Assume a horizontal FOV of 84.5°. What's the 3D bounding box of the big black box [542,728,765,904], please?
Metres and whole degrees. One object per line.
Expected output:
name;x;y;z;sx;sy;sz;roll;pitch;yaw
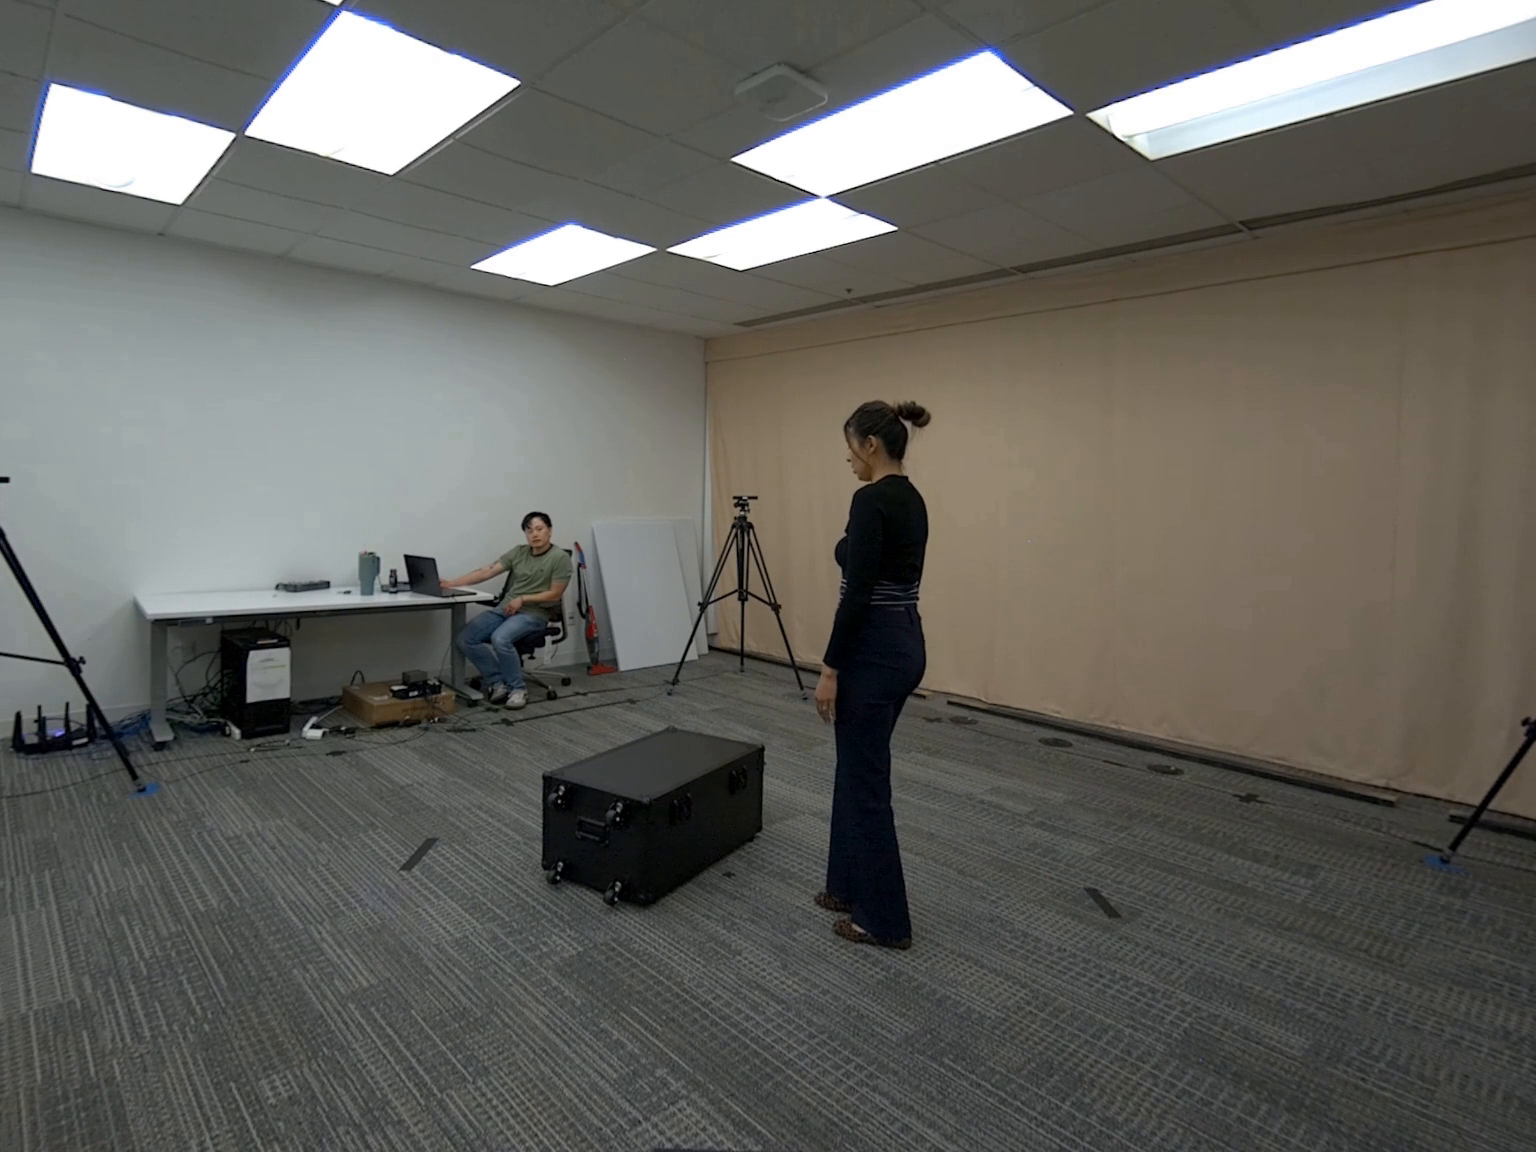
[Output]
big black box;-0.444;0.895;3.232;0.533;0.395;0.845;5;6;30
